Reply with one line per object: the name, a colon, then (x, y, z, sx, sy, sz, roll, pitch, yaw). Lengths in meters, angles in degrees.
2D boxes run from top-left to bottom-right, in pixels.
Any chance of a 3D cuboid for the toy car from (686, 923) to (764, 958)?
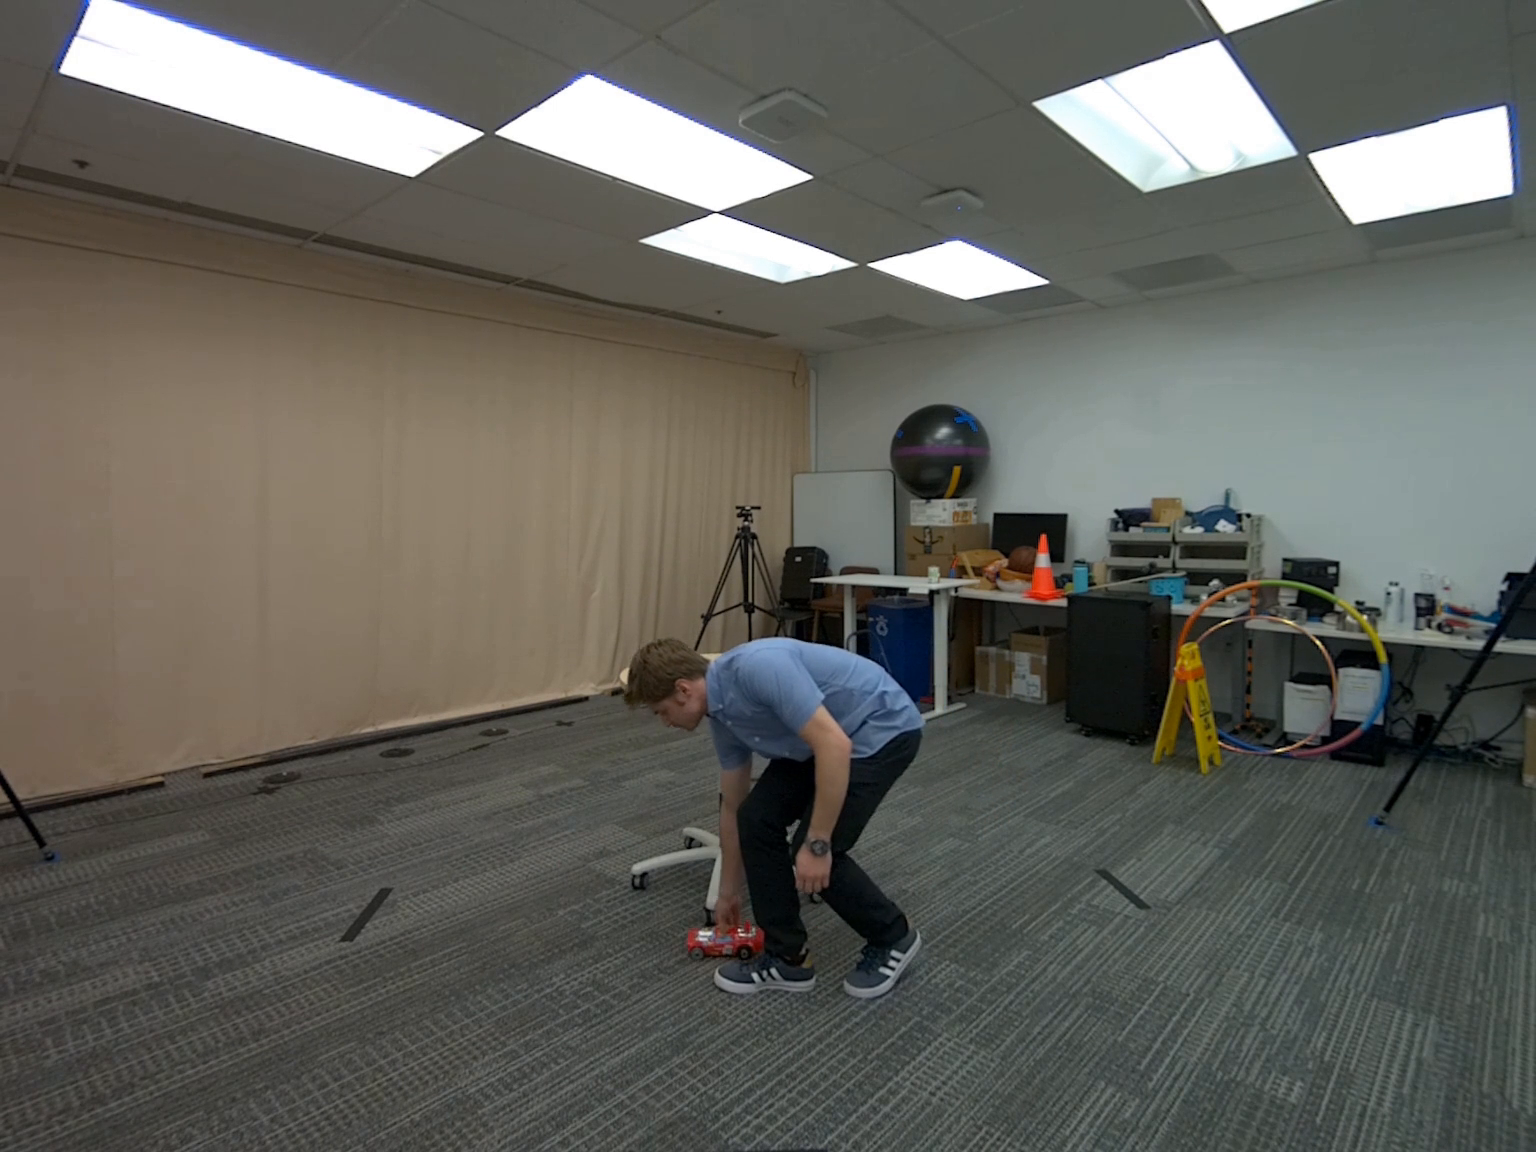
toy car: (-0.123, 1.148, 2.632, 0.255, 0.083, 0.130, -10, 5, 1)
